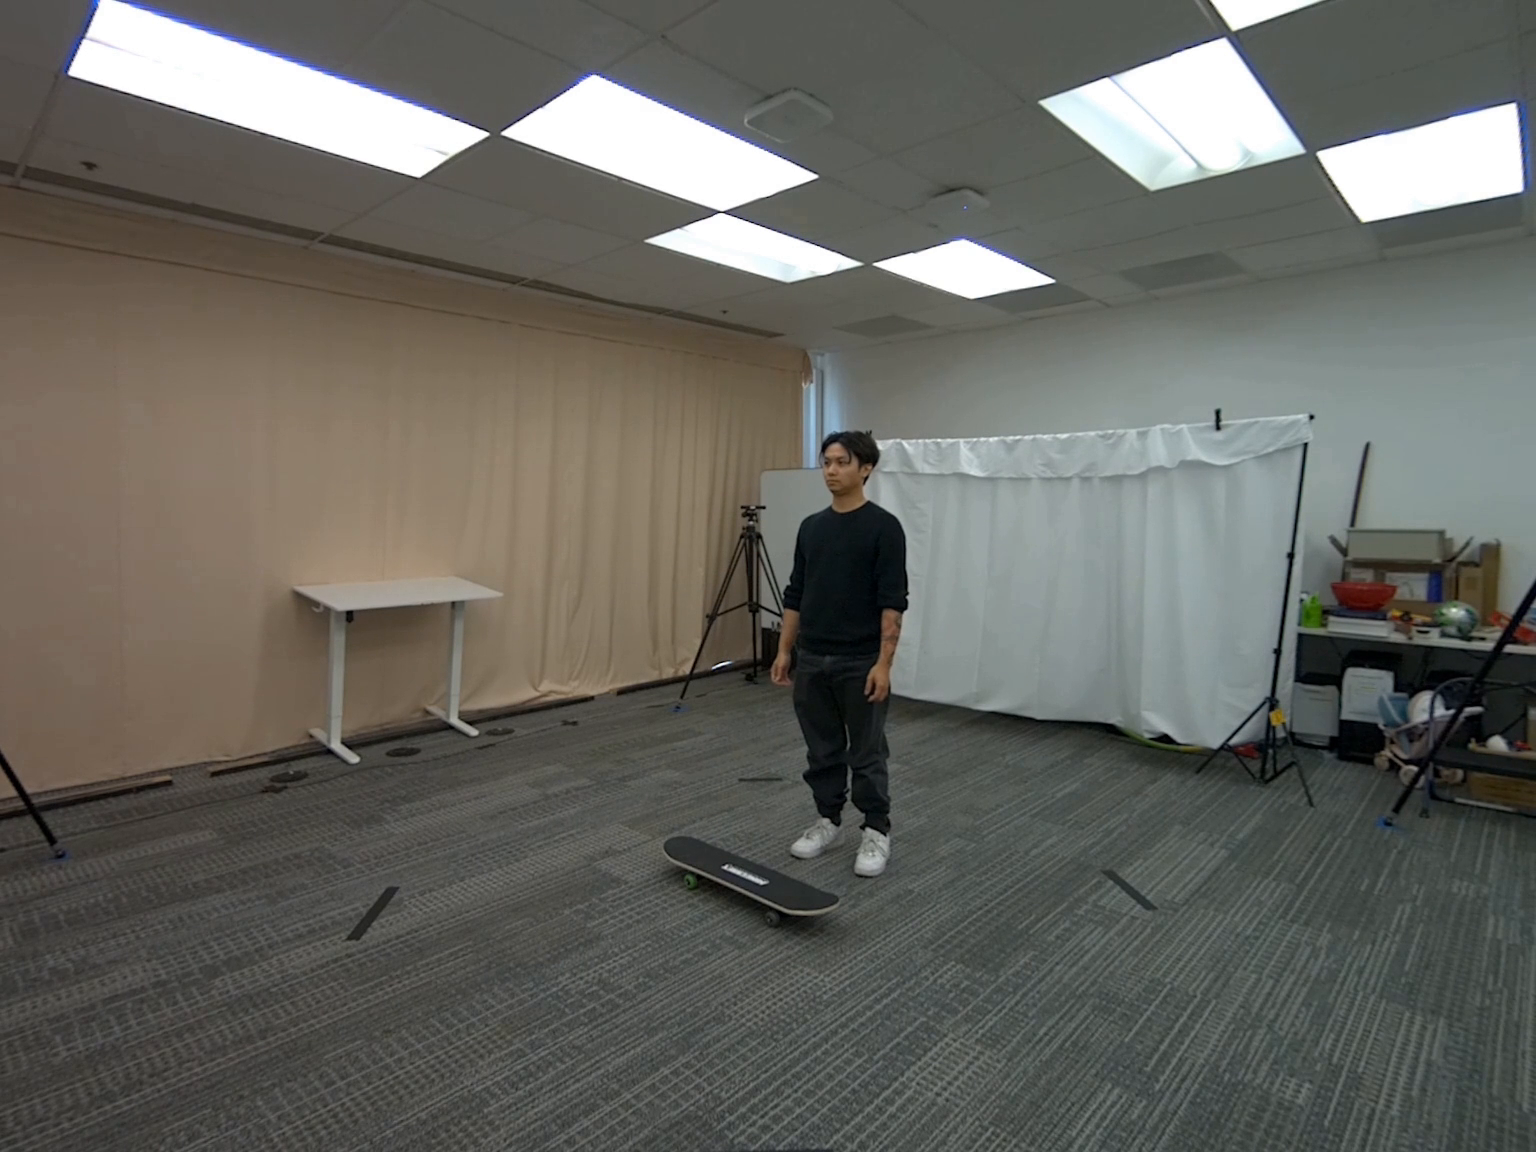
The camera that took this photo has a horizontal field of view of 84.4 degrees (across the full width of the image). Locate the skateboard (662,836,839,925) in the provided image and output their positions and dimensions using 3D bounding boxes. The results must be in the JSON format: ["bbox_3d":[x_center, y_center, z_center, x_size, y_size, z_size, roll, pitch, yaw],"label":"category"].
[{"bbox_3d":[-0.078,1.084,2.984,0.812,0.110,0.187,4,6,43],"label":"skateboard"}]
